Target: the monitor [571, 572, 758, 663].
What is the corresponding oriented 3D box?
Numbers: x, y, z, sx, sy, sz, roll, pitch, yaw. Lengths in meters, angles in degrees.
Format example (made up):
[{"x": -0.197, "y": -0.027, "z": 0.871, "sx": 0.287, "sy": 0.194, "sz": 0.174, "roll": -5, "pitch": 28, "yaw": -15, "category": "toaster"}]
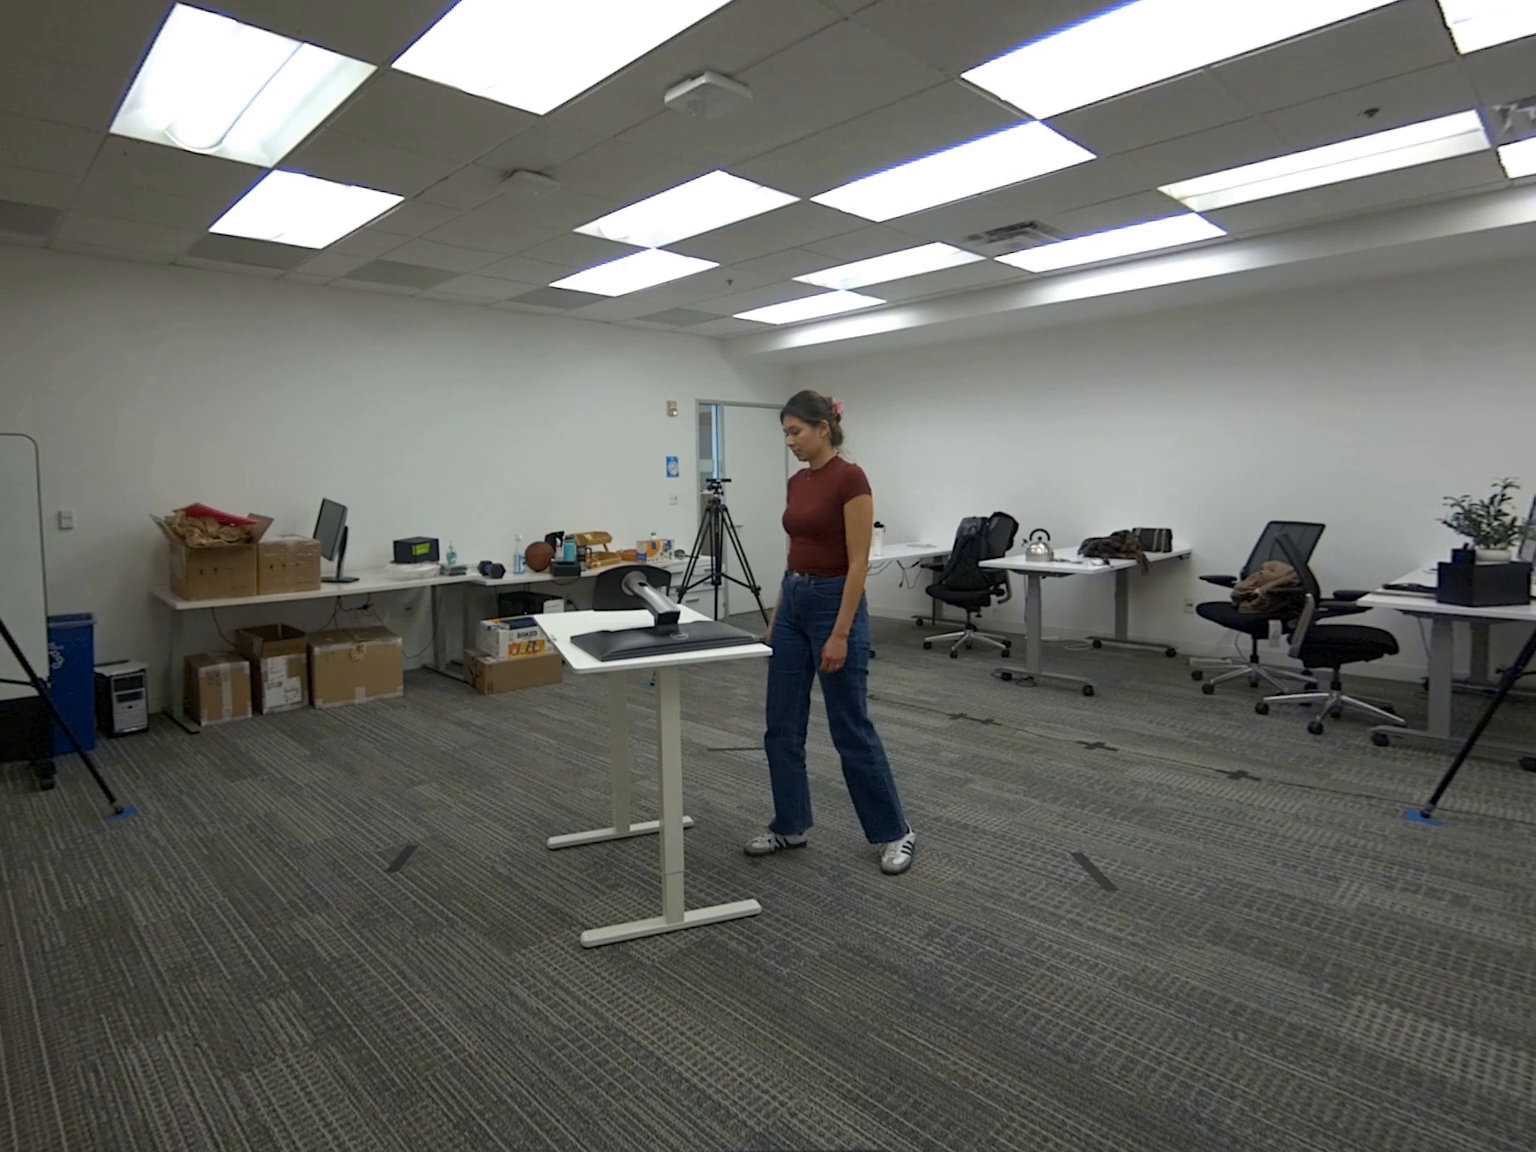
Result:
[{"x": -0.357, "y": 0.140, "z": 2.799, "sx": 0.528, "sy": 0.184, "sz": 0.542, "roll": -5, "pitch": 24, "yaw": -25, "category": "monitor"}]
